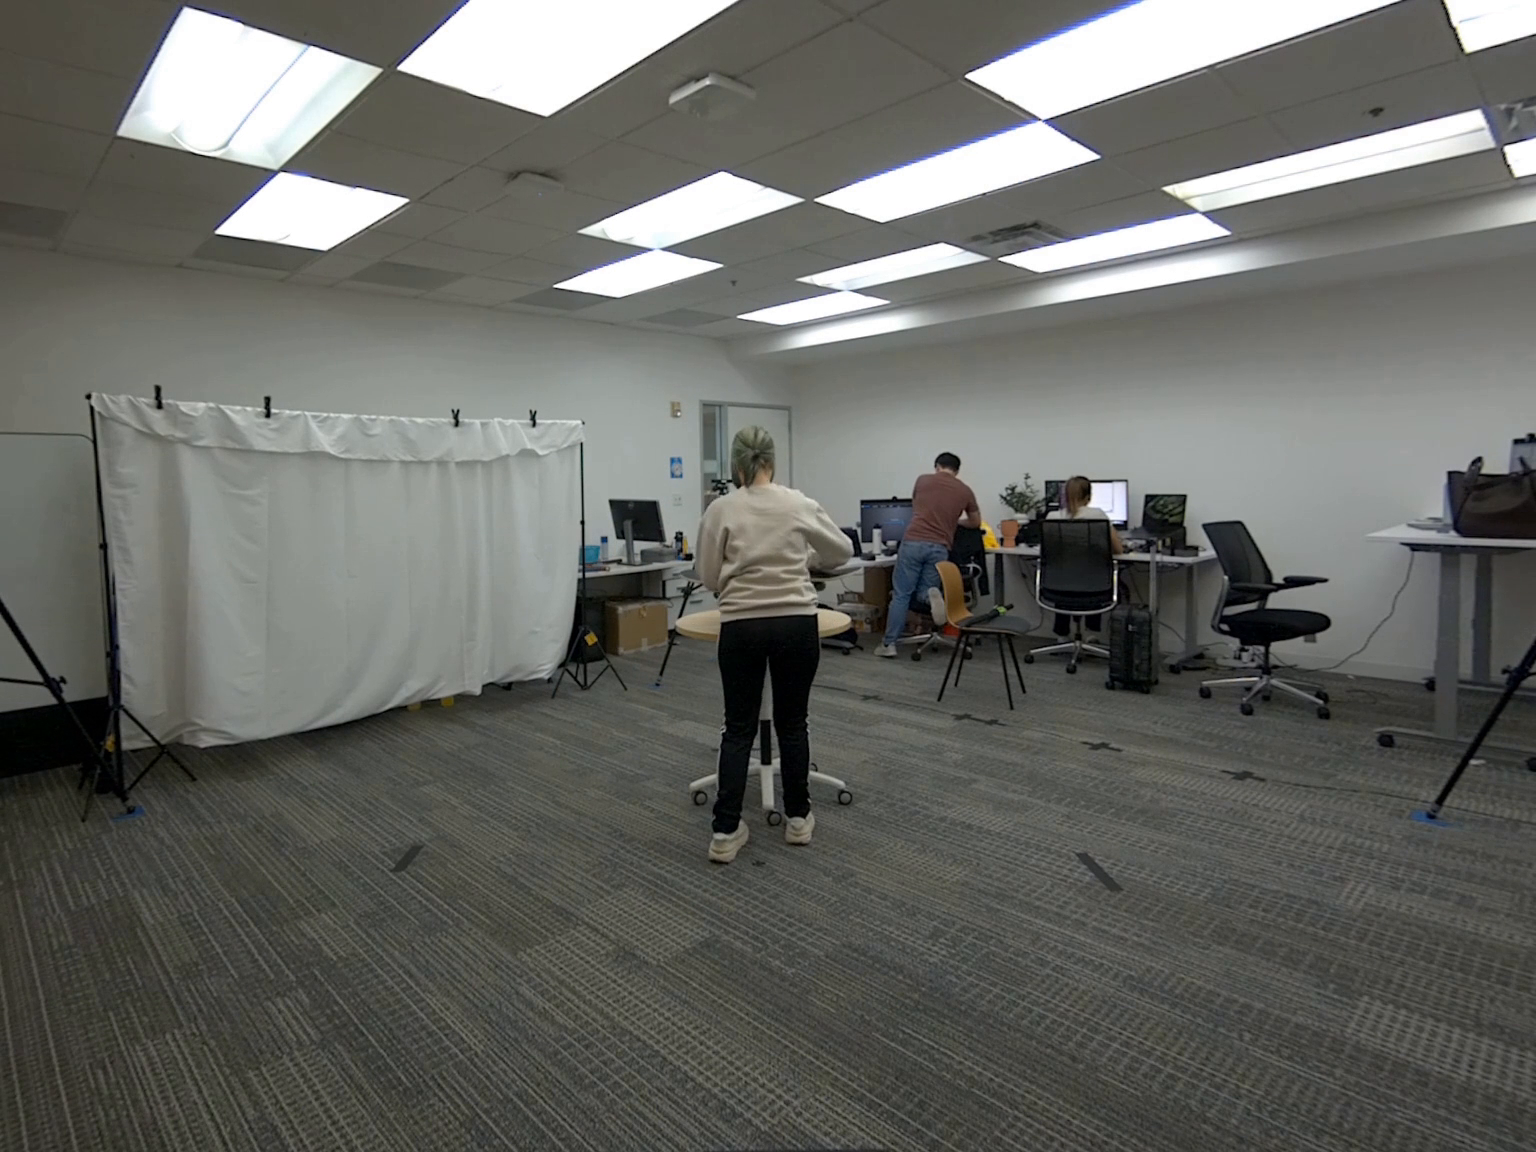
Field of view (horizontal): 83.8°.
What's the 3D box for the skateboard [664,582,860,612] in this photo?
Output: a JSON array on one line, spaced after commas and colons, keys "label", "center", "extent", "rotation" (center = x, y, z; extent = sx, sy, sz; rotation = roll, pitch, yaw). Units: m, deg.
[{"label": "skateboard", "center": [0.008, 0.035, 3.595], "extent": [0.796, 0.109, 0.192], "rotation": [-2, 10, 15]}]
